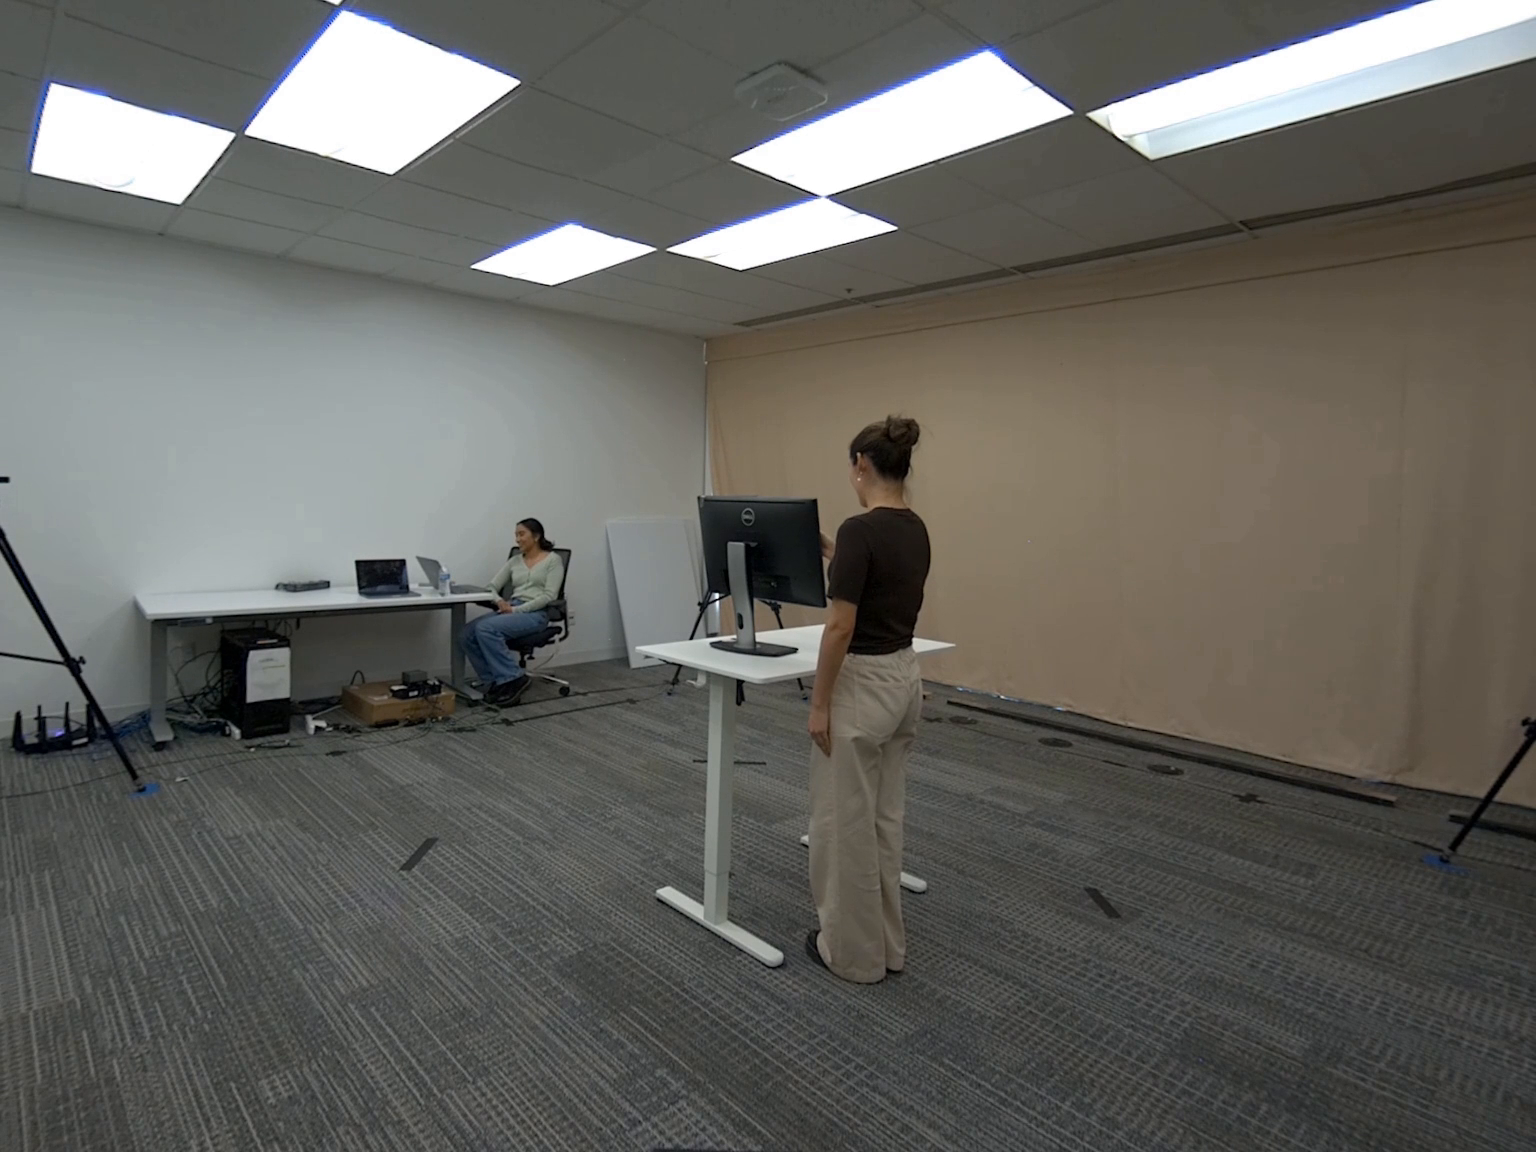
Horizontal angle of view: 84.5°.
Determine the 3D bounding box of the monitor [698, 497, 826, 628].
[{"bbox_3d":[-0.056,-0.001,2.798,0.553,0.521,0.183,5,4,44],"label":"monitor"}]
